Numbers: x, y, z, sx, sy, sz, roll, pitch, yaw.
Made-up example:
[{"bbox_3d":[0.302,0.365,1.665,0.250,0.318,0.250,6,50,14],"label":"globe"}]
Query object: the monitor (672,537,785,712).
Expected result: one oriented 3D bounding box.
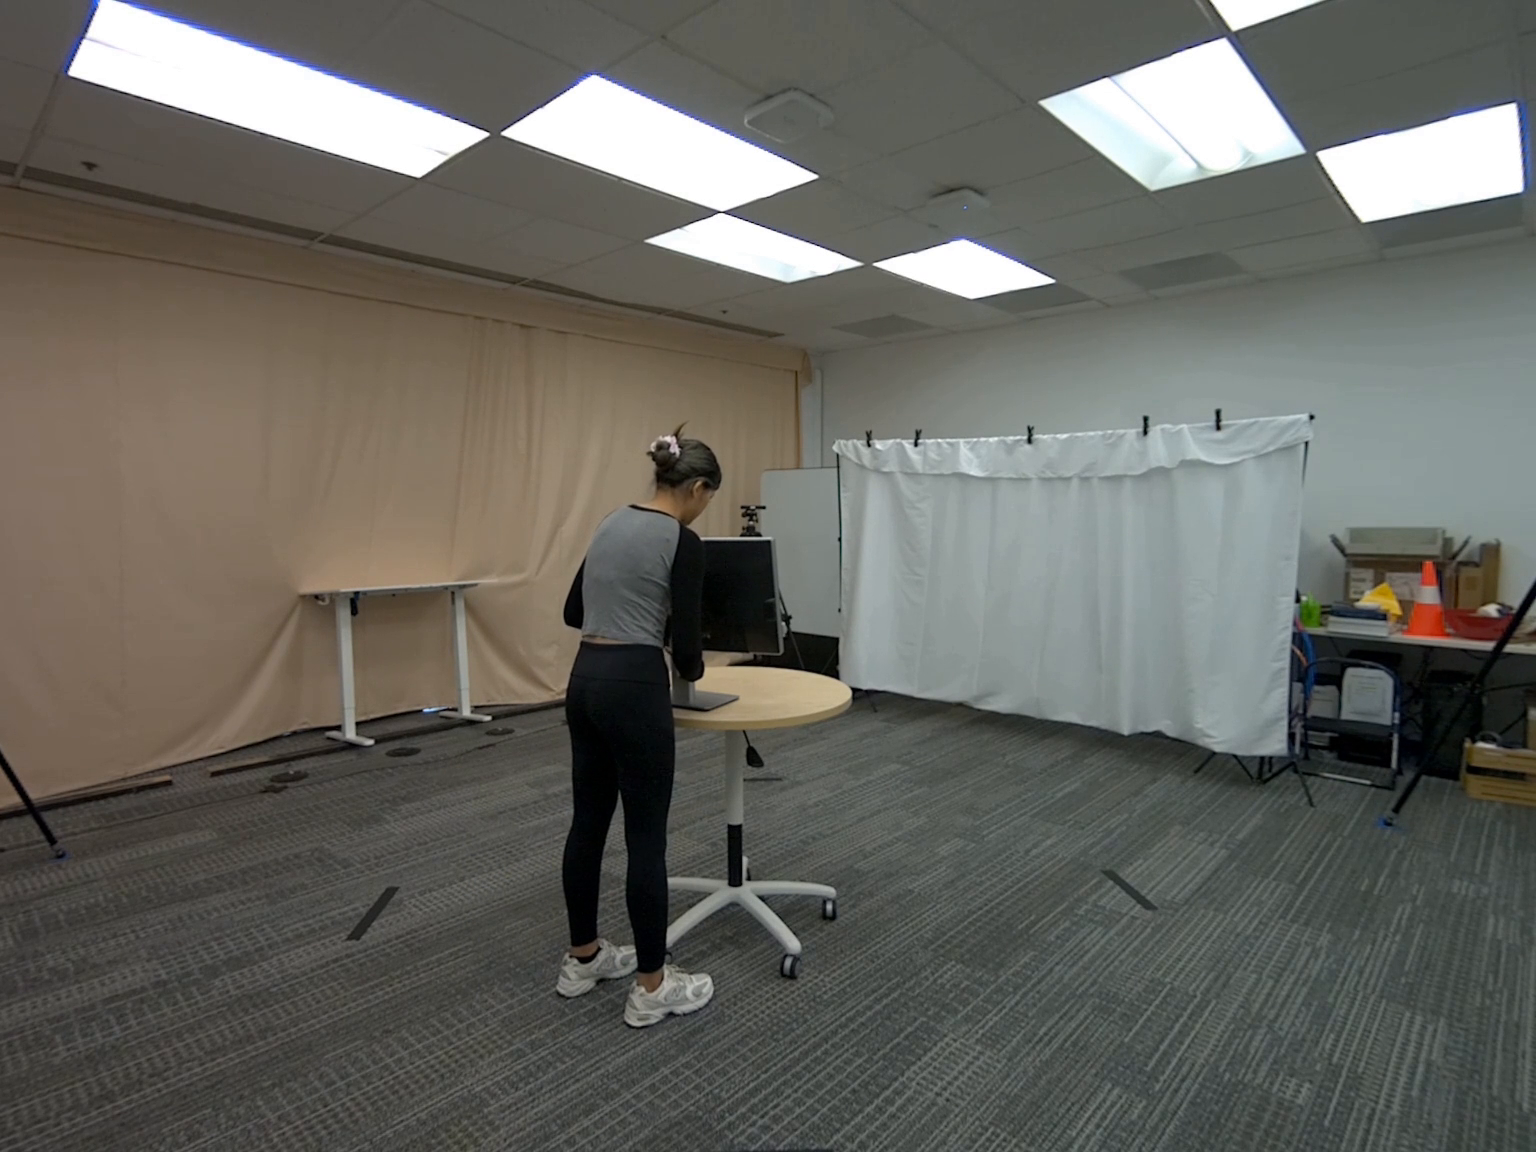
[{"bbox_3d":[-0.240,0.146,2.596,0.552,0.522,0.183,1,1,23],"label":"monitor"}]
